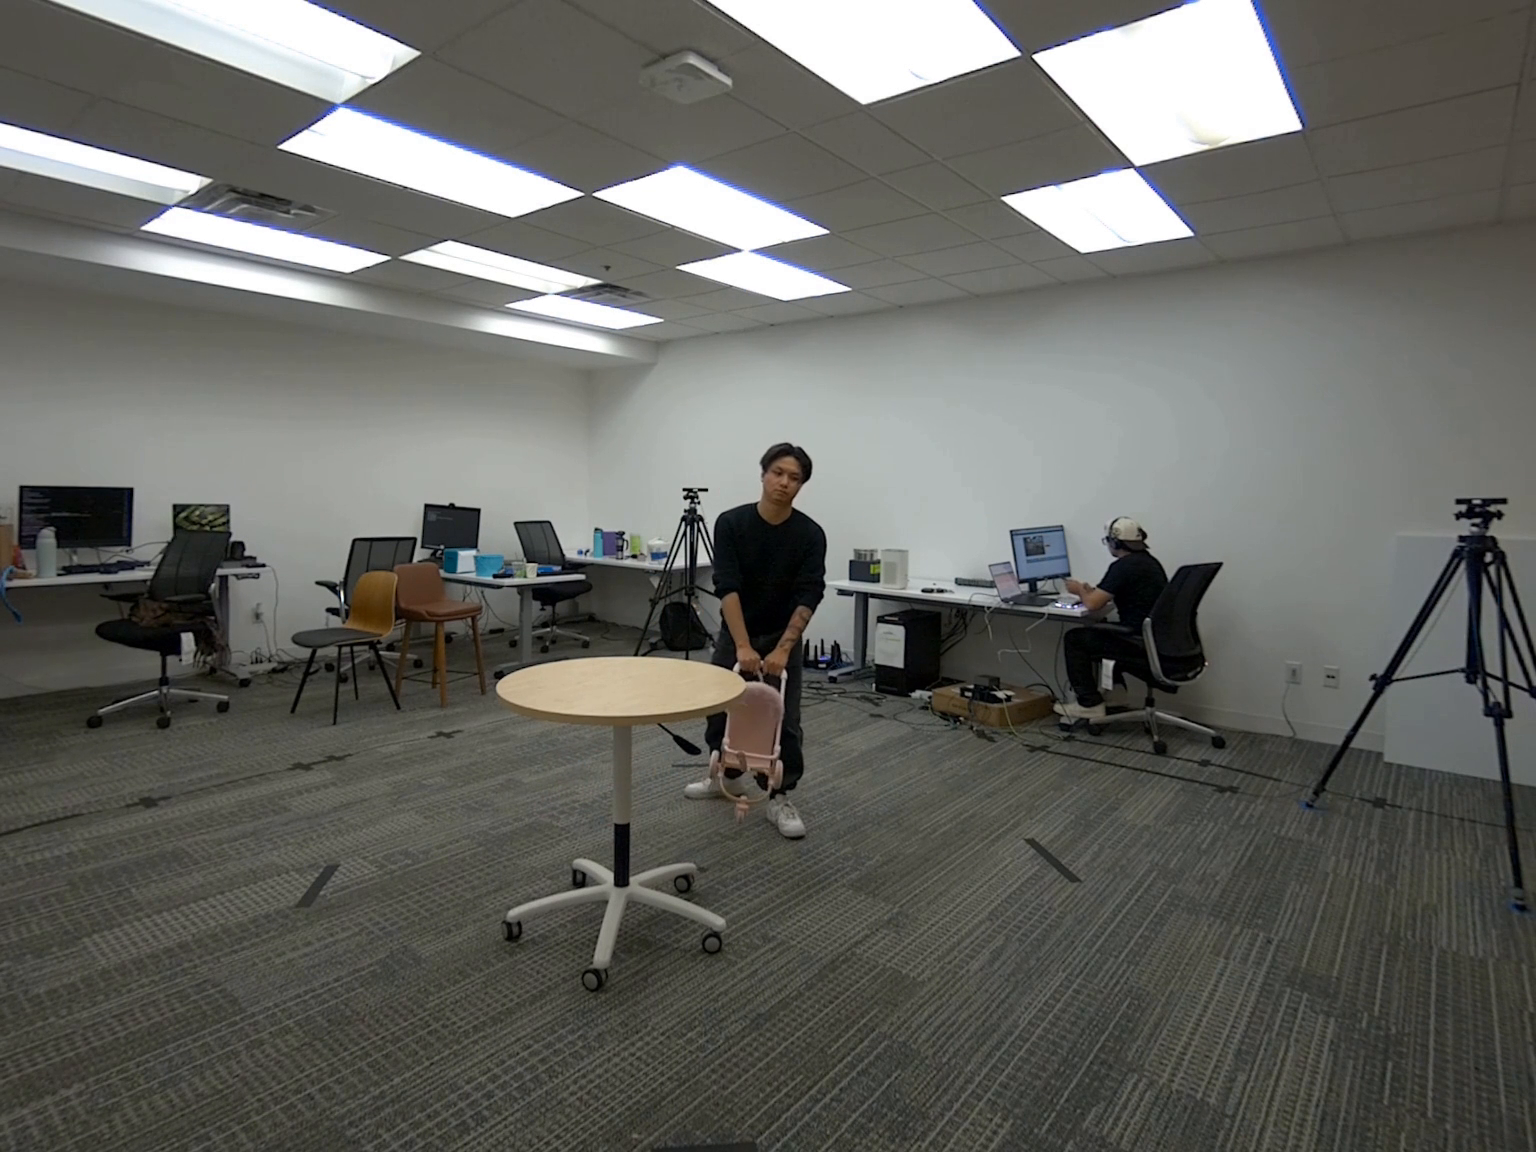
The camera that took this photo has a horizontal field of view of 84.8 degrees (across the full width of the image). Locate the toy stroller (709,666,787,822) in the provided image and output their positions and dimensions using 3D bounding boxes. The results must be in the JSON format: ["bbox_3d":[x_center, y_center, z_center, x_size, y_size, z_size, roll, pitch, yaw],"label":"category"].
[{"bbox_3d":[-0.075,0.612,3.177,0.283,0.532,0.341,9,6,4],"label":"toy stroller"}]
